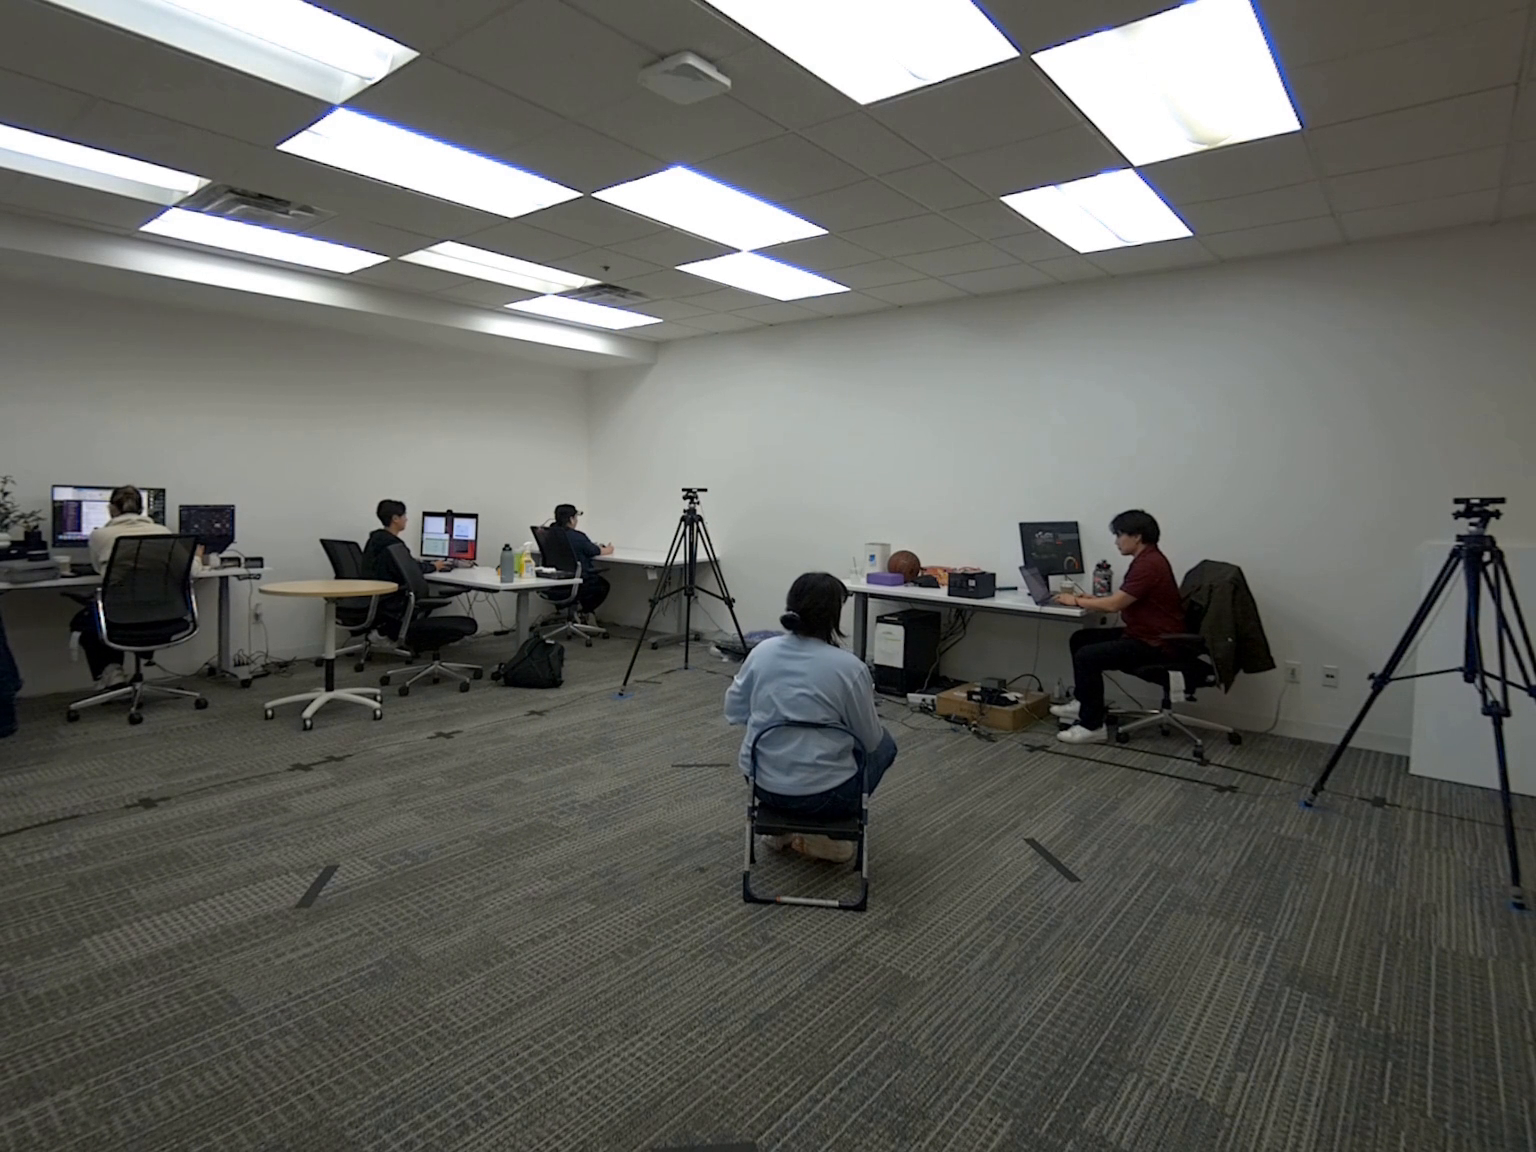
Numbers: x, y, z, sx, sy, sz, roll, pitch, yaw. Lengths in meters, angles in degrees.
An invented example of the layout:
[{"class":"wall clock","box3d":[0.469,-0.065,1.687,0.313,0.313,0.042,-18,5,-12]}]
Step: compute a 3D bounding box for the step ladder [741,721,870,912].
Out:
[{"class":"step ladder","box3d":[0.128,0.794,2.989,0.432,0.605,0.348,0,2,3]}]
